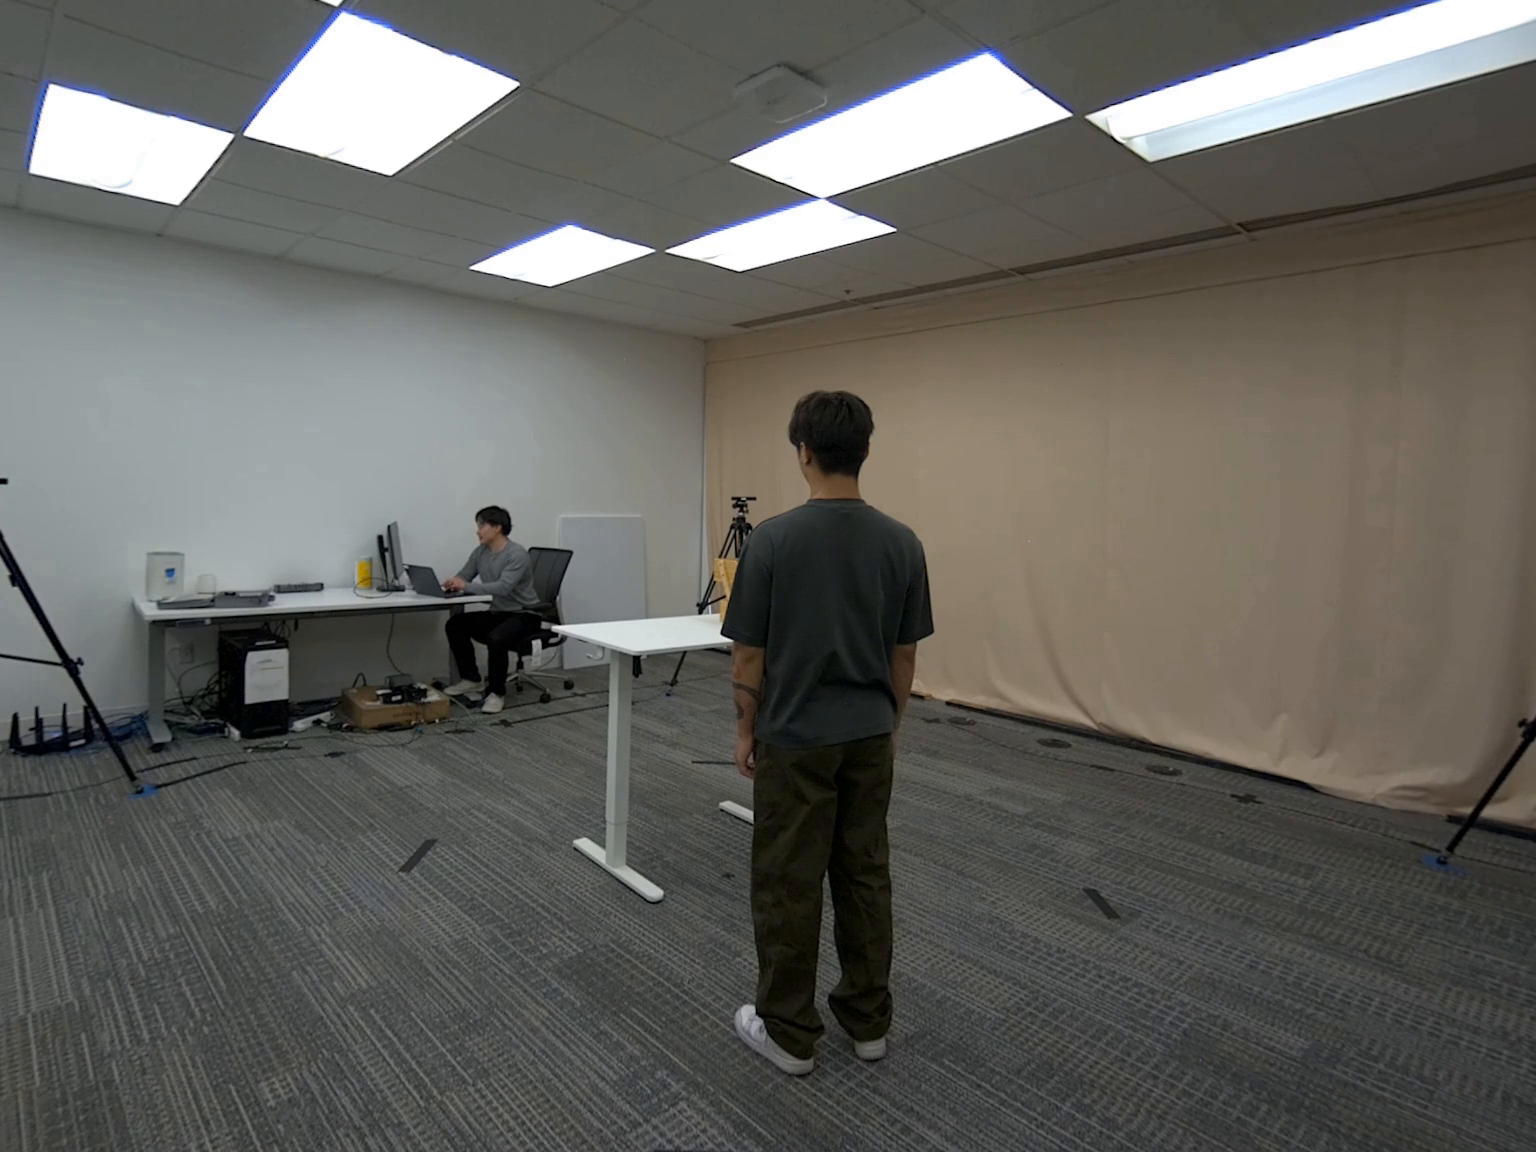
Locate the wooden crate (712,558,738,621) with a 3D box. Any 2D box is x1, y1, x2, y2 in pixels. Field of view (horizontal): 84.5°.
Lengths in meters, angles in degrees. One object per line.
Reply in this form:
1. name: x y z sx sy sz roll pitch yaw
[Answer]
1. wooden crate: -0.022 0.066 3.486 0.317 0.273 0.309 -1 5 -37
